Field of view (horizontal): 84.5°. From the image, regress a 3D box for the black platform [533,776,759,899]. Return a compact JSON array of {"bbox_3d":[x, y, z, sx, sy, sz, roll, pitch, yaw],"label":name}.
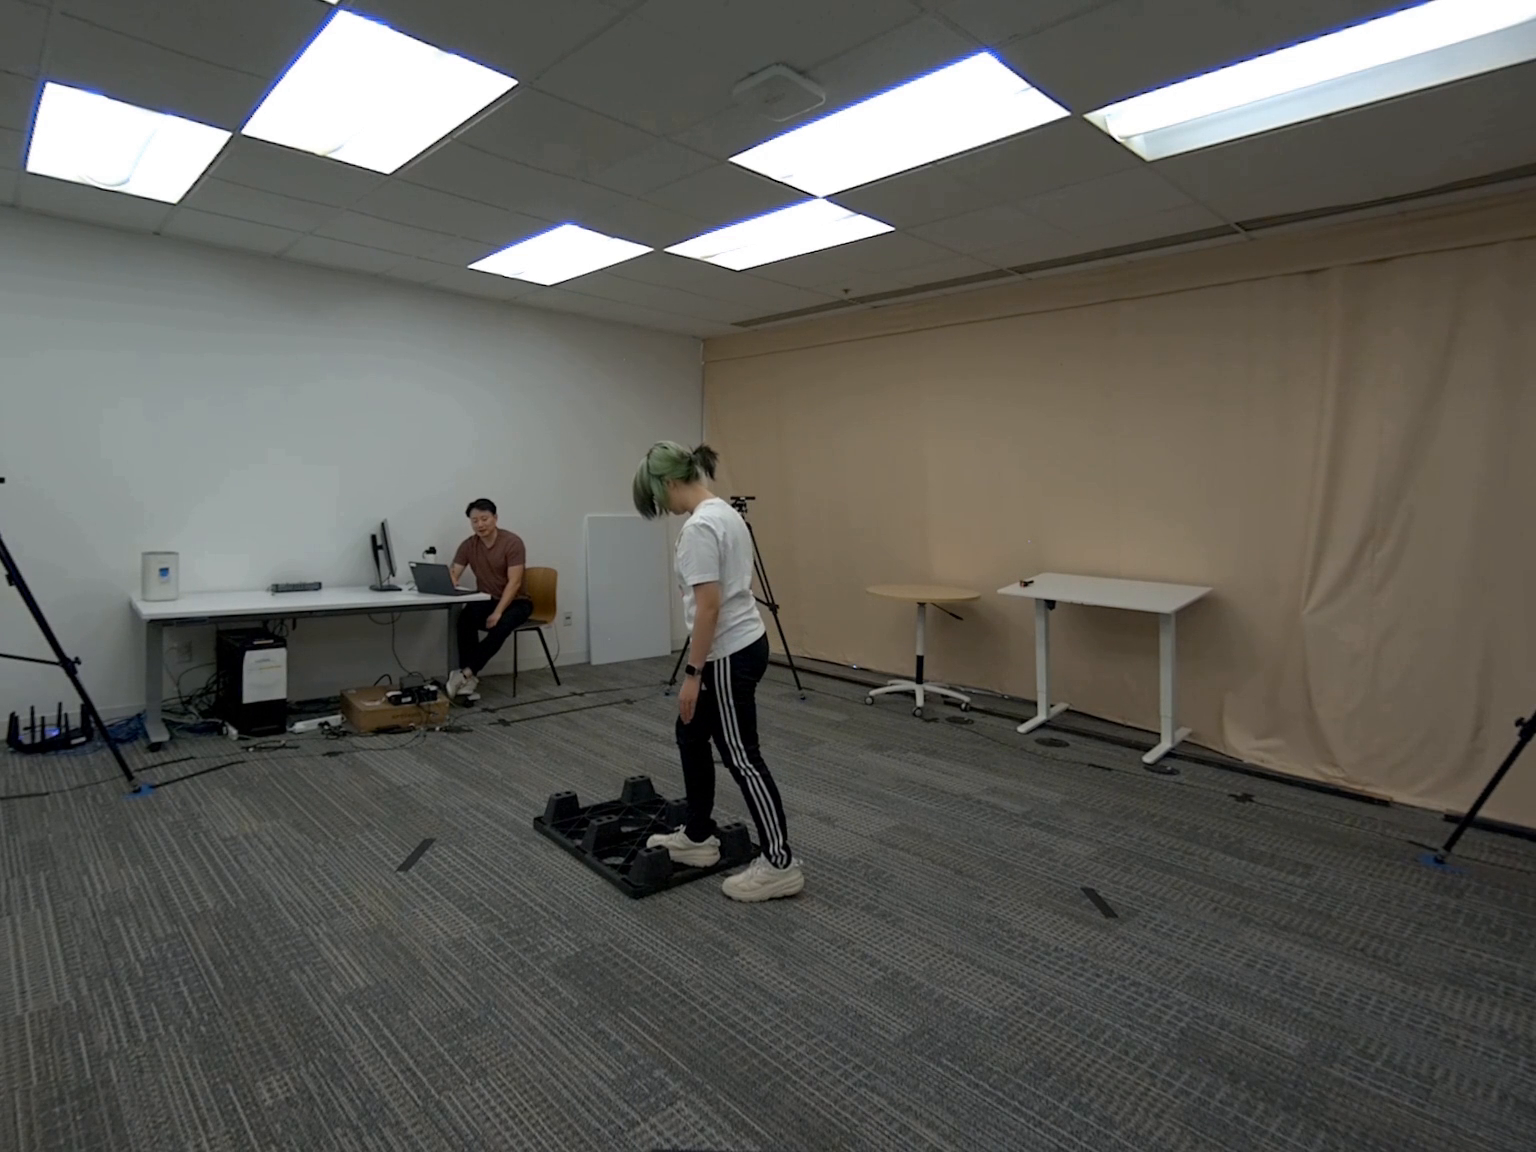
[{"bbox_3d":[-0.497,1.007,3.383,0.592,0.143,0.826,-4,8,-40],"label":"black platform"}]
